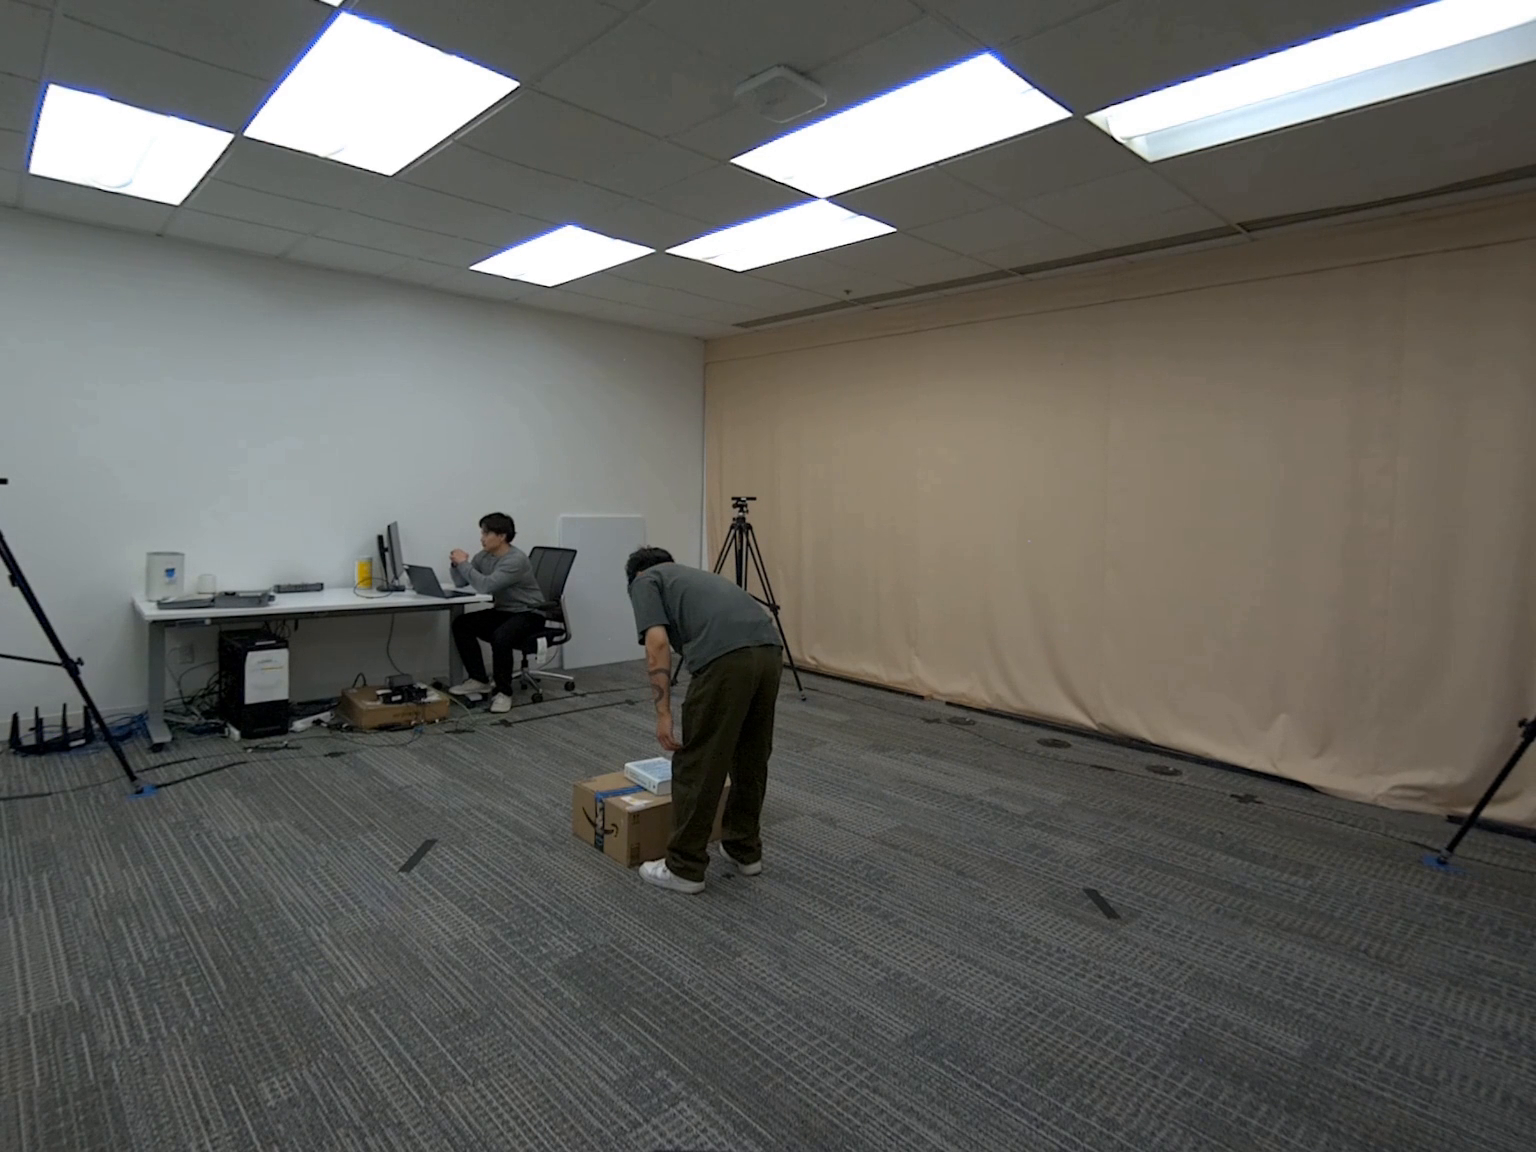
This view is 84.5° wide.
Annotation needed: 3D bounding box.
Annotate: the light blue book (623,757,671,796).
[{"bbox_3d":[-0.454,0.826,3.493,0.187,0.059,0.268,-1,6,-38],"label":"light blue book"}]
